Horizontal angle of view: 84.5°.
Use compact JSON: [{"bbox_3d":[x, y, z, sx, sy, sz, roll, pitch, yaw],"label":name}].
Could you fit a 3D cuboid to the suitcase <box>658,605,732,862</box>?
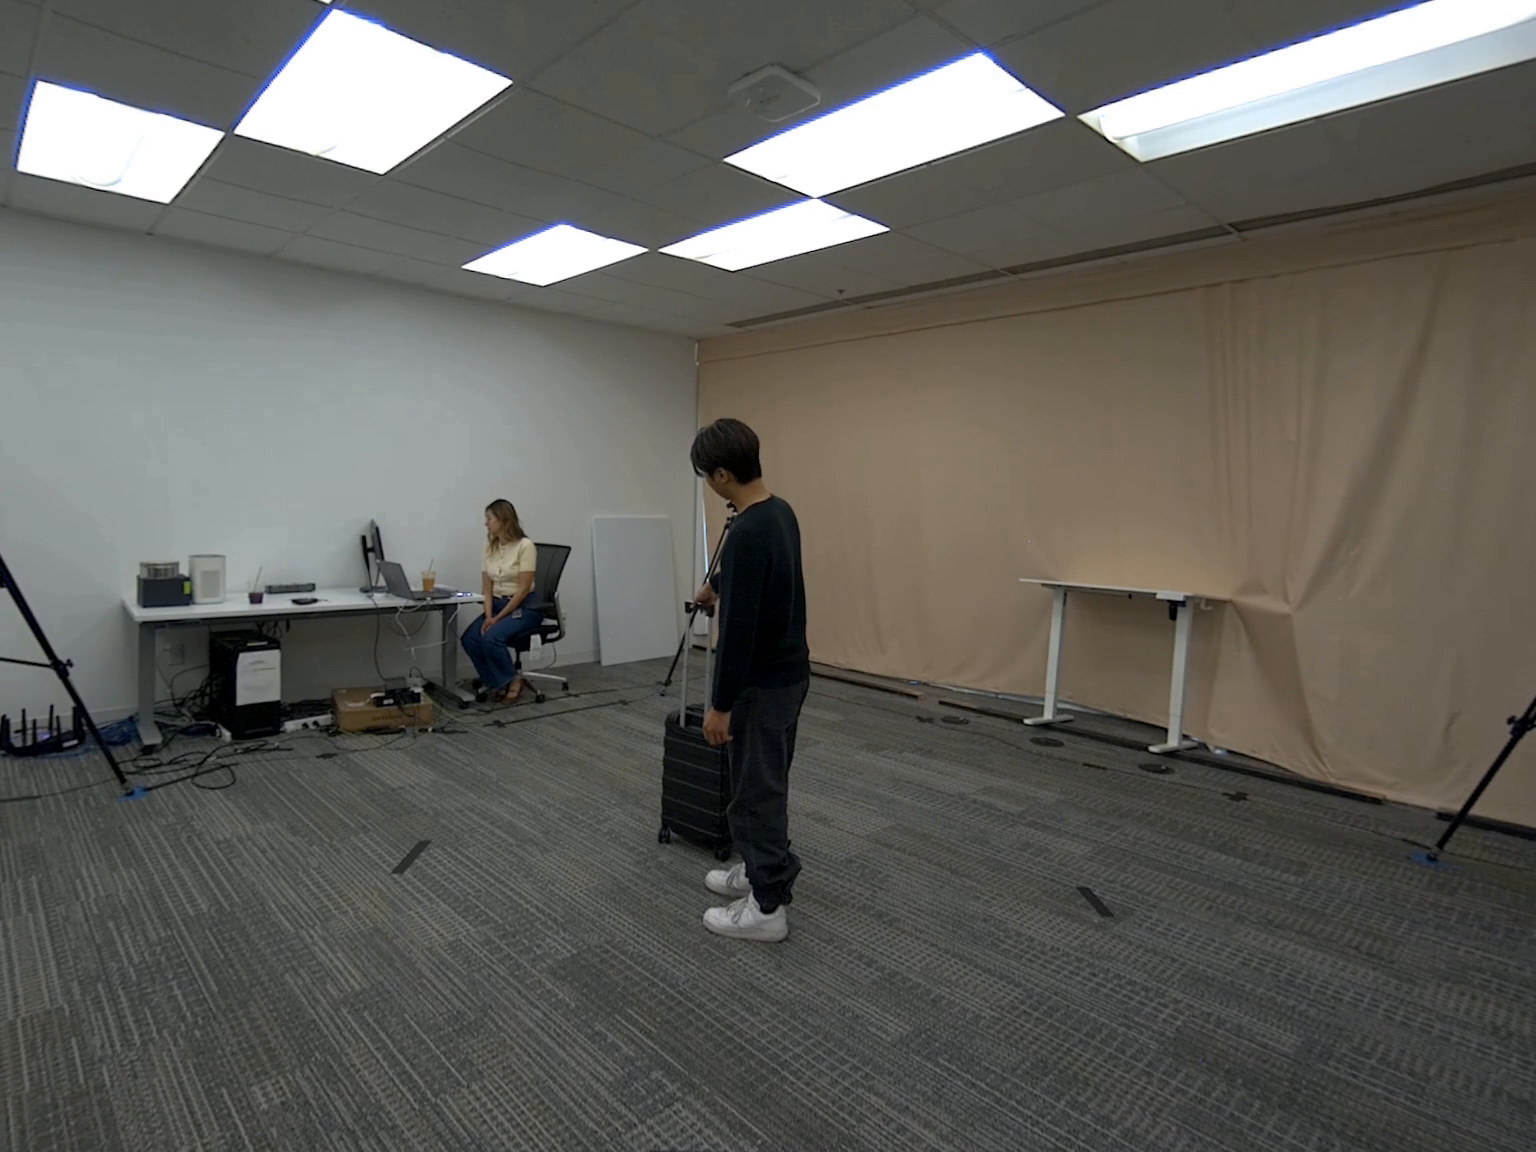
[{"bbox_3d":[-0.233,0.606,3.395,0.393,0.977,0.251,5,3,36],"label":"suitcase"}]
